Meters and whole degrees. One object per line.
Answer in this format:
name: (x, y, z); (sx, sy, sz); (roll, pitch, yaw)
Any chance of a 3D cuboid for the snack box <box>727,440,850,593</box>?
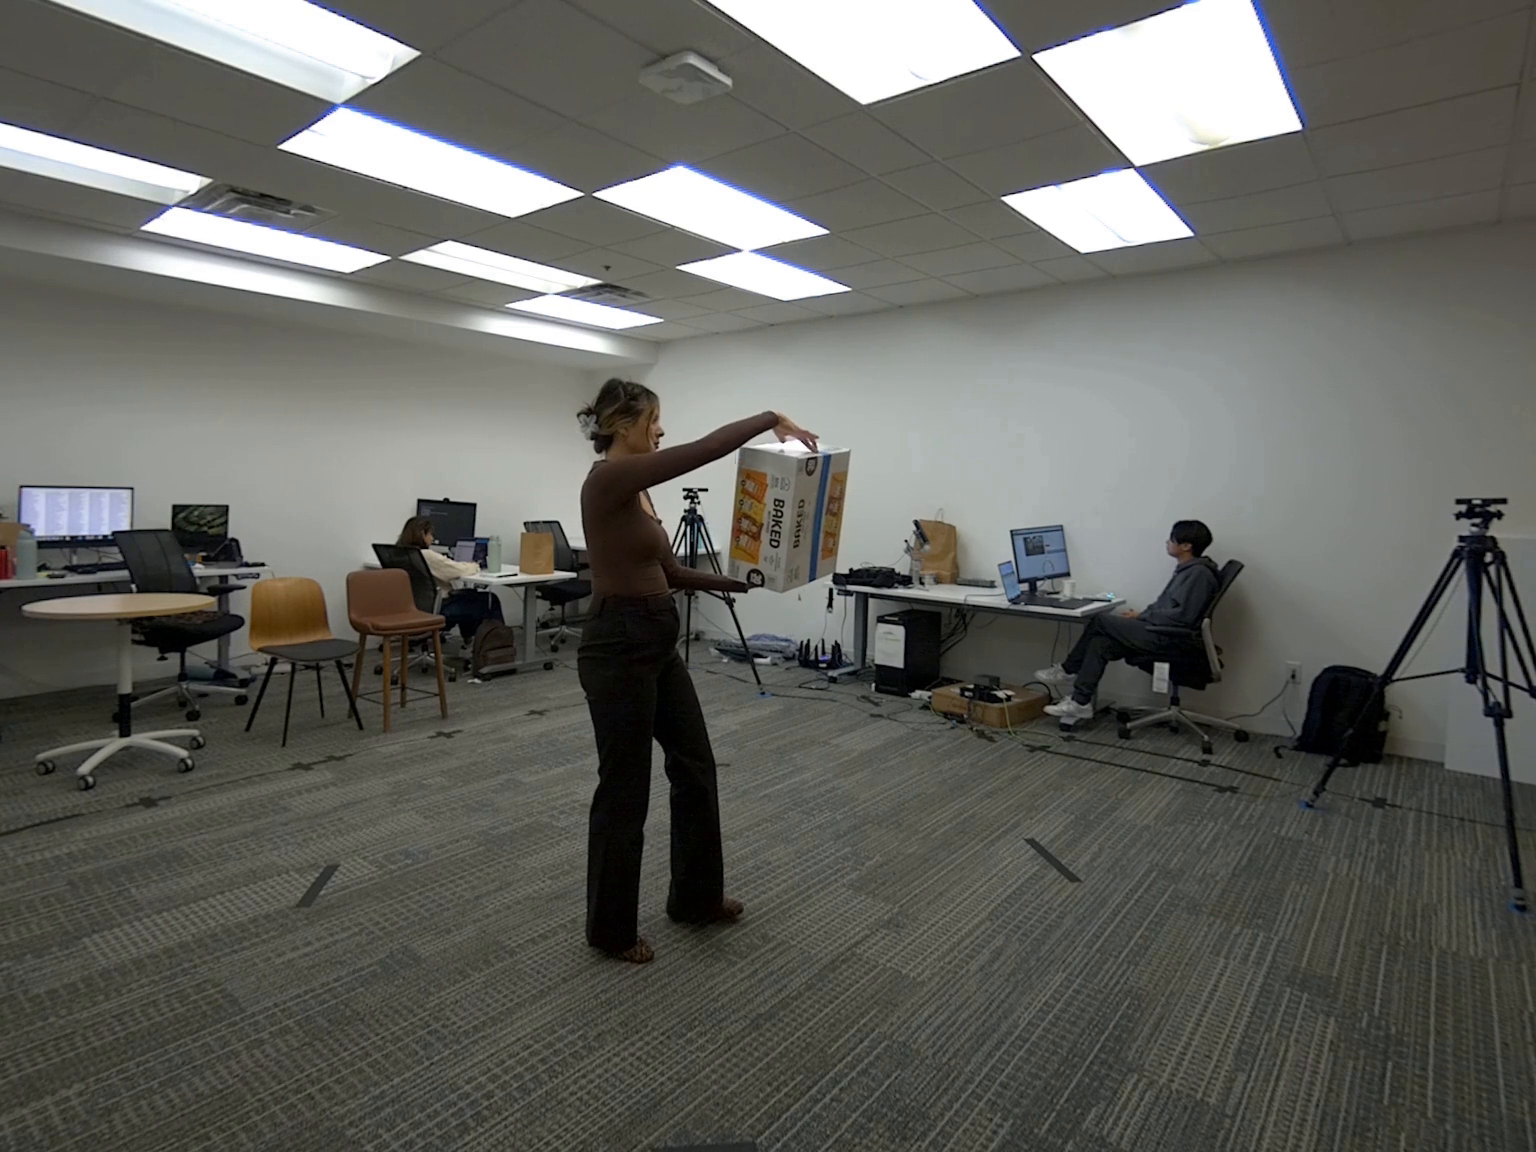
snack box: (0.057, -0.197, 2.614); (0.213, 0.400, 0.333); (14, 17, 31)
